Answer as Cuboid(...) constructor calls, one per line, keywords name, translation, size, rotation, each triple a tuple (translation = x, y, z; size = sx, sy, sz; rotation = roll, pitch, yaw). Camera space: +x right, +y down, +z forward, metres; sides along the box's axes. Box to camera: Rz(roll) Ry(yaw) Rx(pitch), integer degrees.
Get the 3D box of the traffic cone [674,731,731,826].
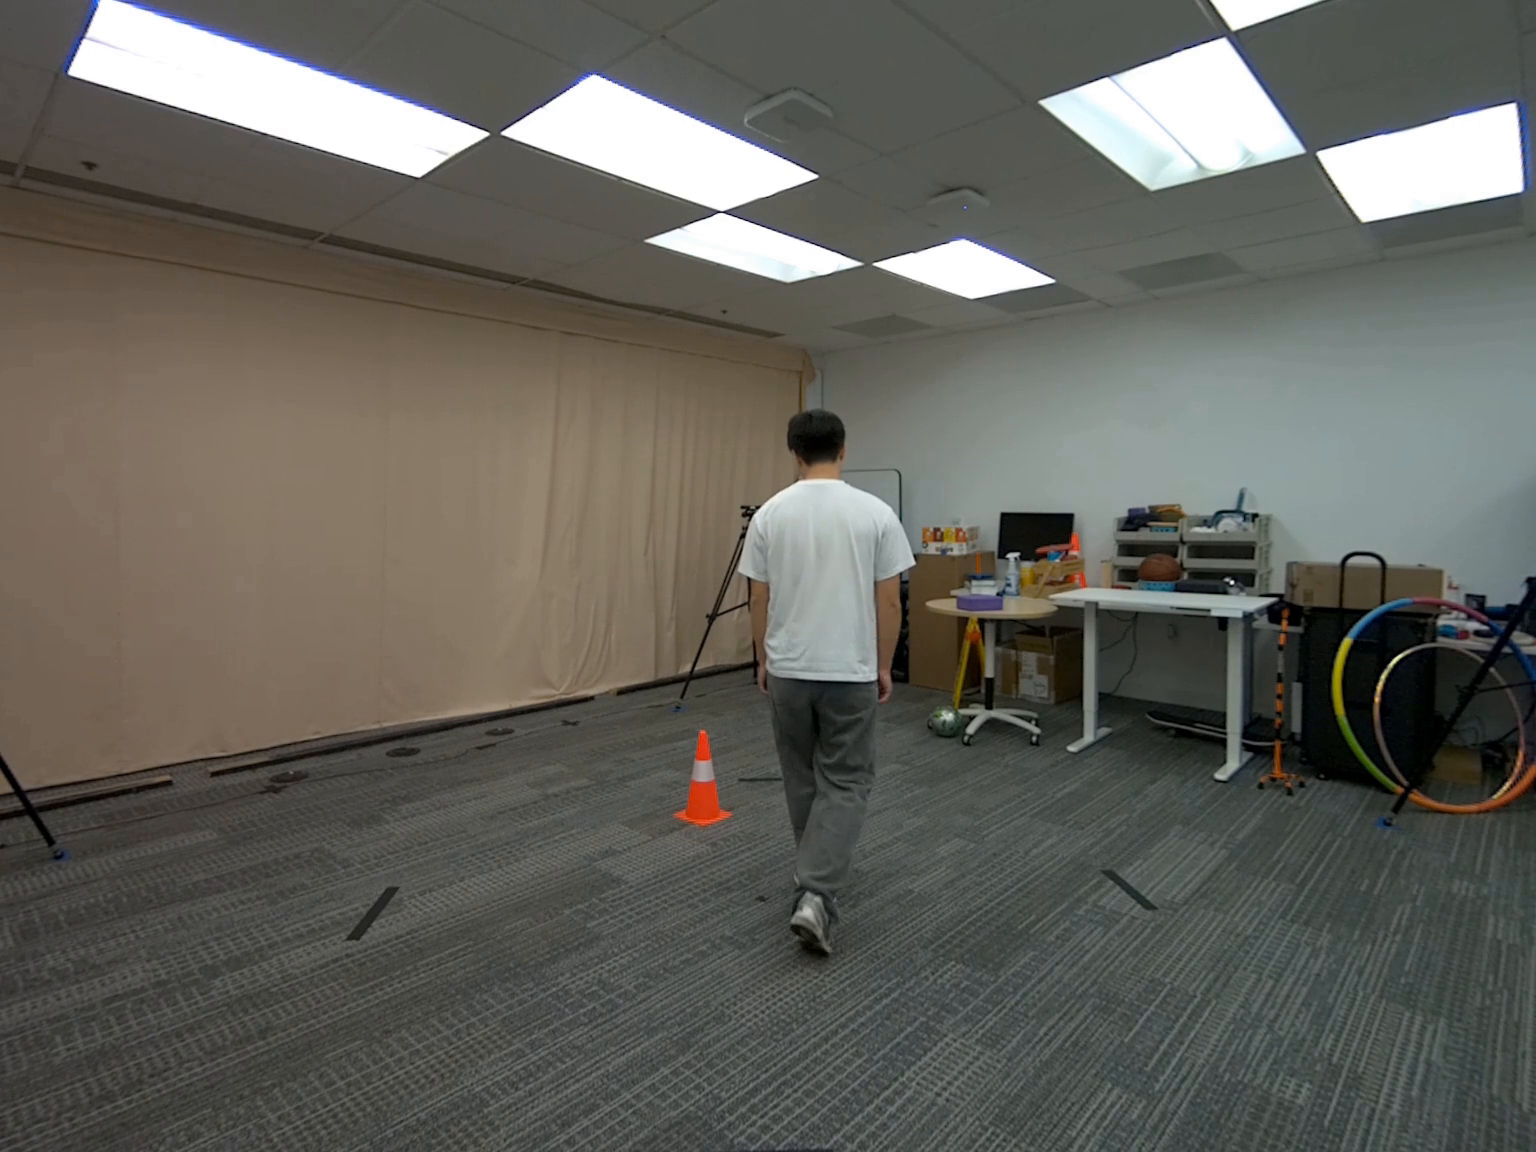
Cuboid(name="traffic cone", translation=(-0.288, 0.895, 3.803), size=(0.197, 0.383, 0.212), rotation=(-1, 2, -43))
